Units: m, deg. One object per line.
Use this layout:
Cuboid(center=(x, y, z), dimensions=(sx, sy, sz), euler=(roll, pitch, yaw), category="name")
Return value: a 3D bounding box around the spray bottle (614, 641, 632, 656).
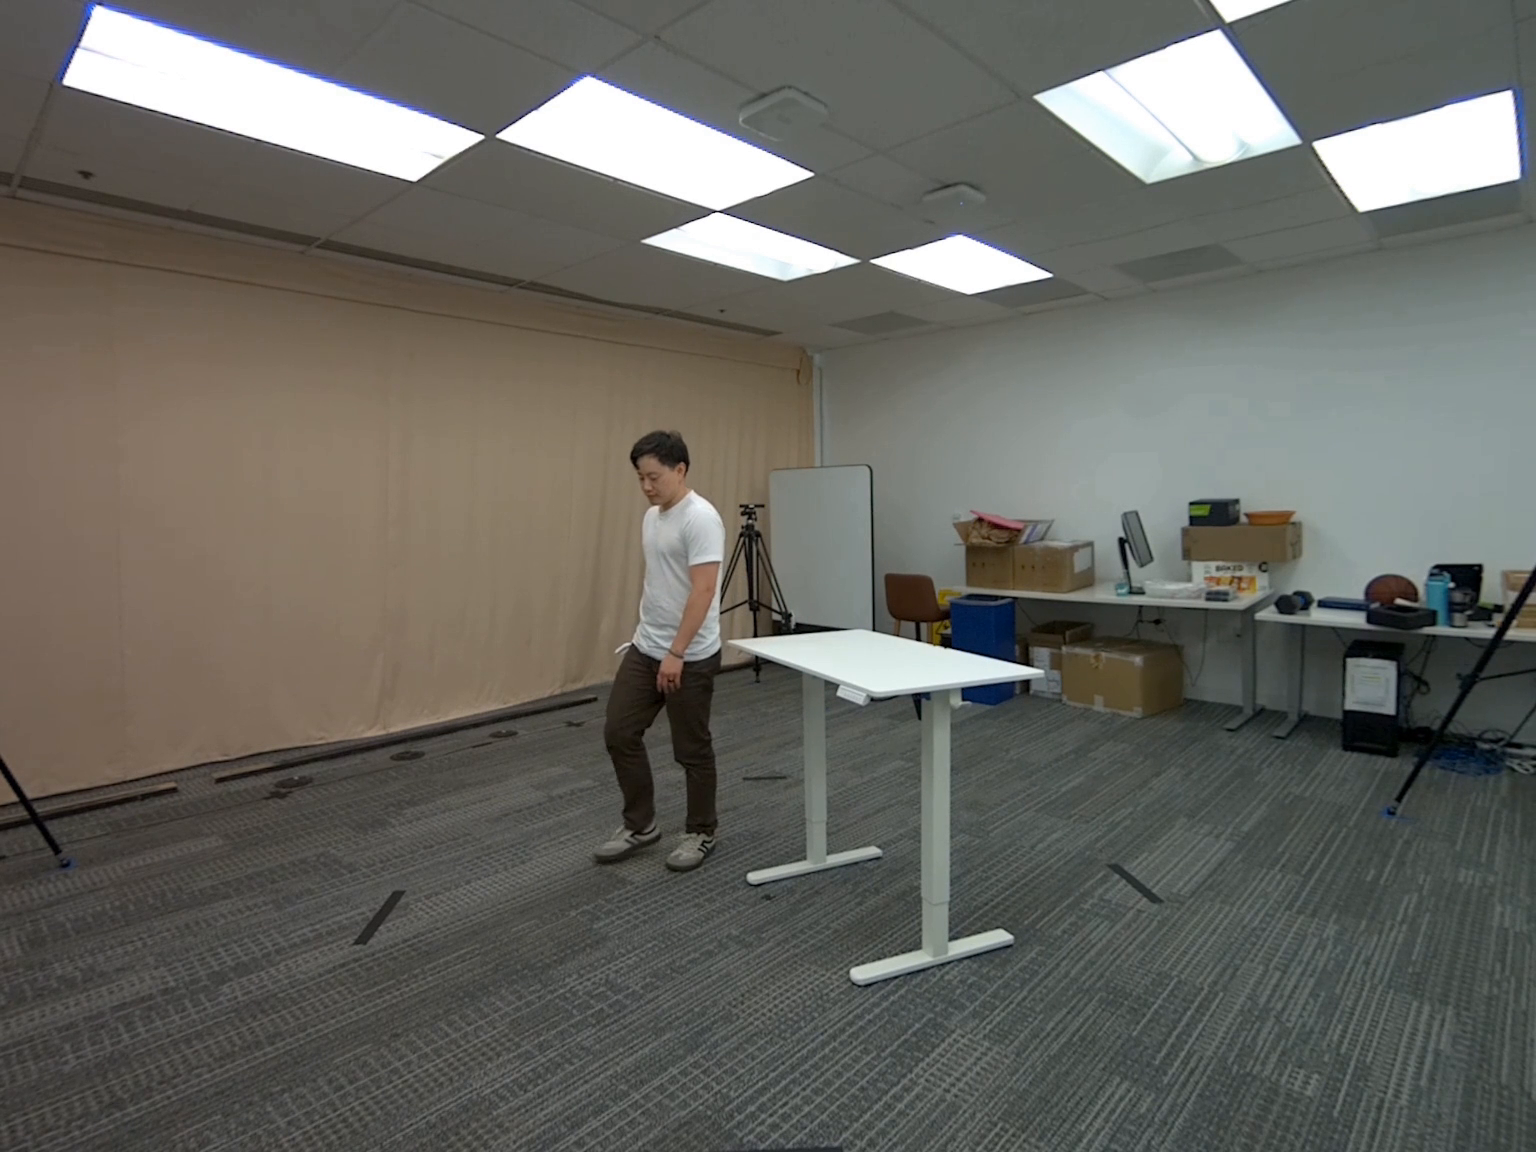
Cuboid(center=(-0.508, 0.342, 3.531), dimensions=(0.287, 0.088, 0.092), euler=(27, -26, -35), category="spray bottle")
